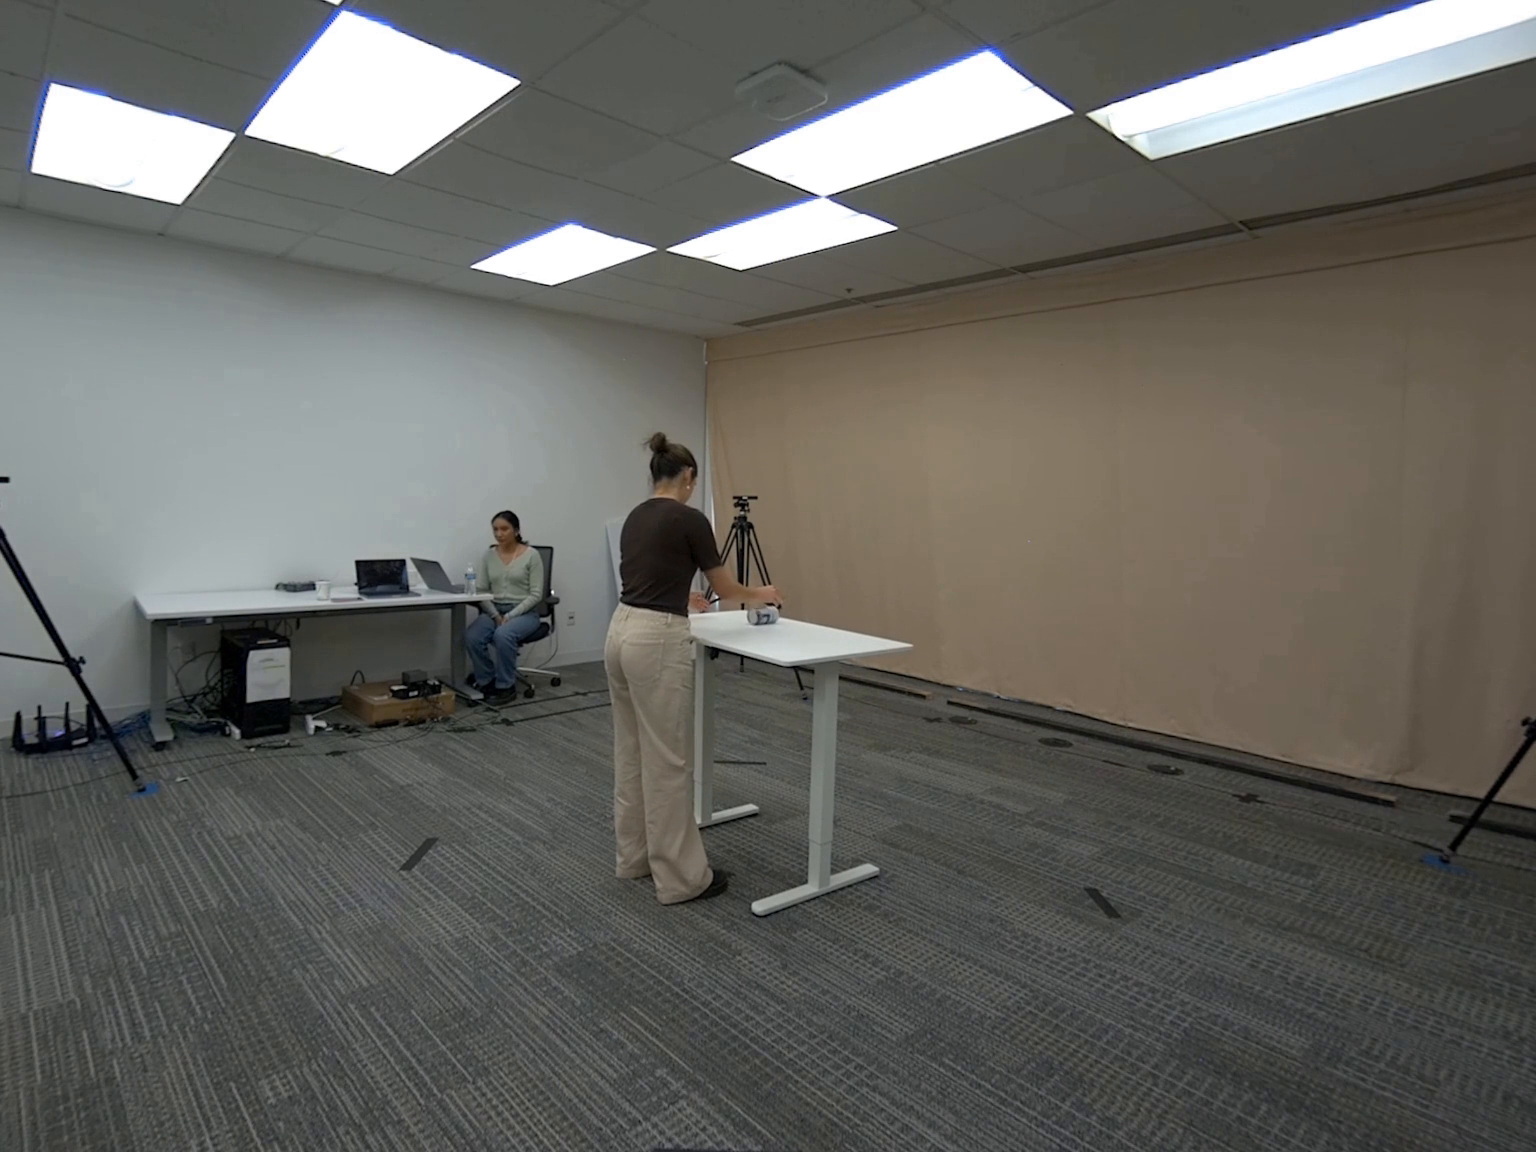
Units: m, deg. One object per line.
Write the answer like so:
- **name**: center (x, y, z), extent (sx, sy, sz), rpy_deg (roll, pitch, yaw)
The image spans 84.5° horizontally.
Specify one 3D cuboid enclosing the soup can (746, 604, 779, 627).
- **soup can**: center (-0.028, 0.159, 3.408), extent (0.119, 0.067, 0.069), rpy_deg (-7, 9, -37)
